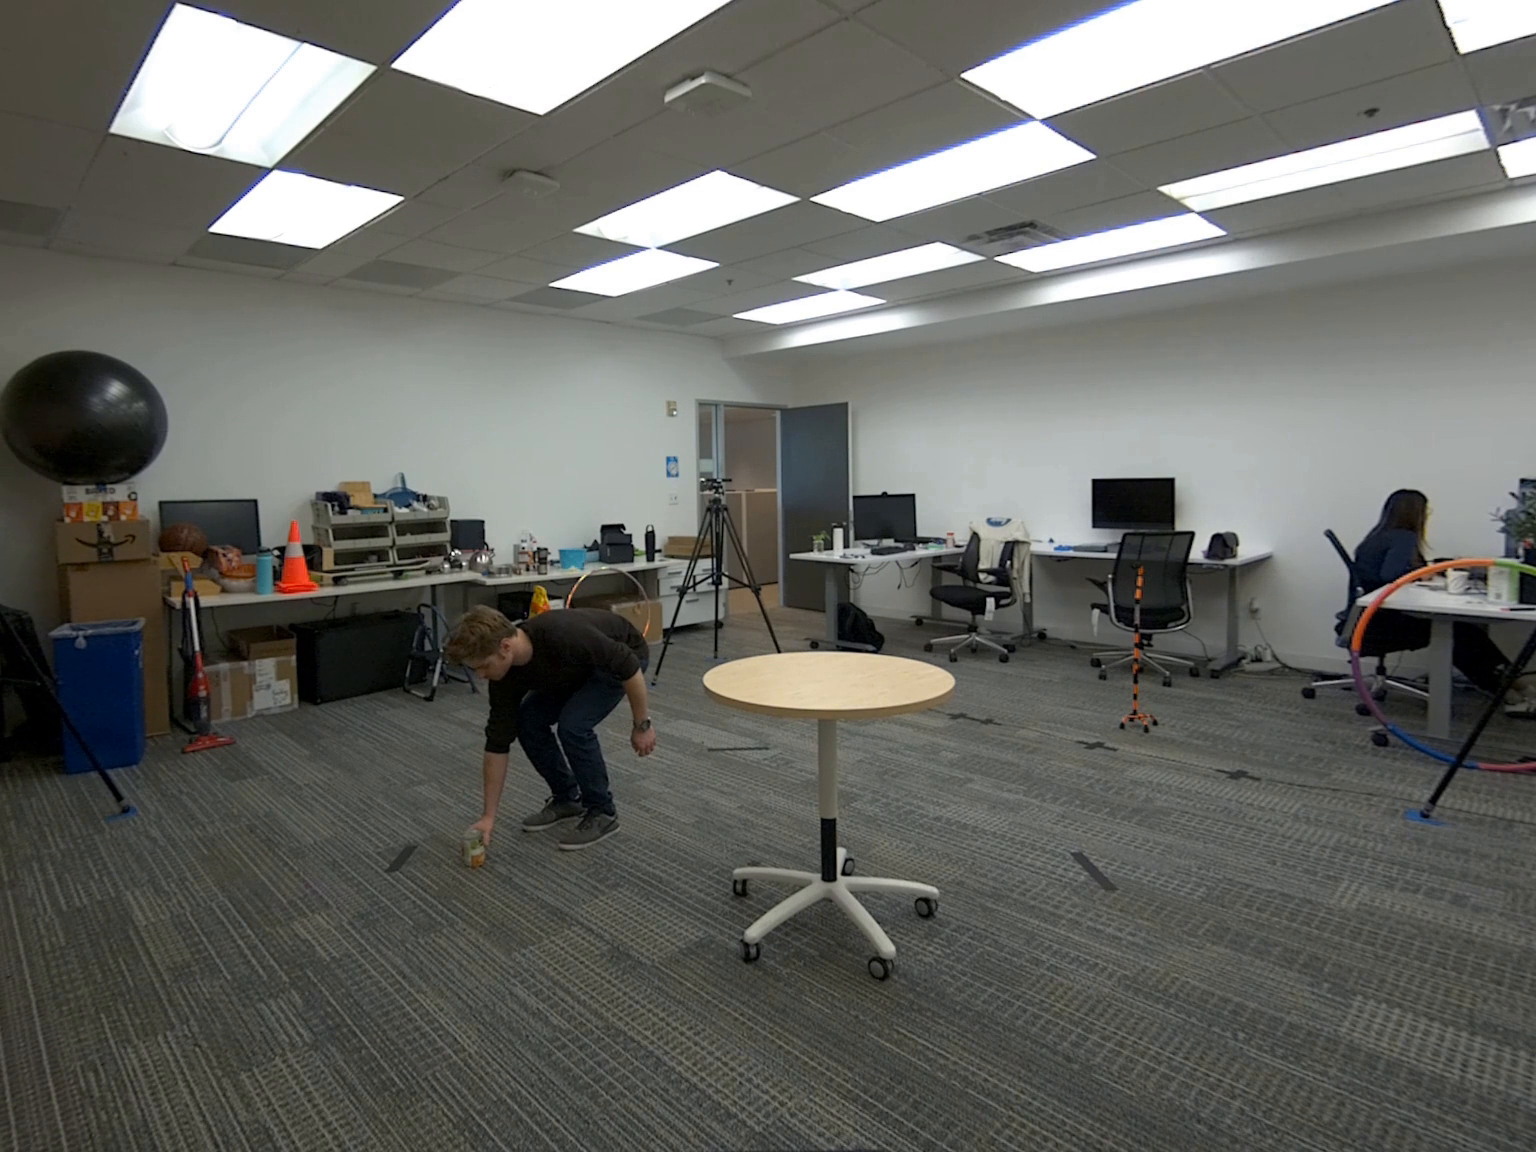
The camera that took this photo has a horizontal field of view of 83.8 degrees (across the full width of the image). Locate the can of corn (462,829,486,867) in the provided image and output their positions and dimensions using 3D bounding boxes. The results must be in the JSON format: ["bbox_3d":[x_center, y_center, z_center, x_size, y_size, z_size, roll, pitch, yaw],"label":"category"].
[{"bbox_3d":[-1.085,1.005,3.155,0.074,0.111,0.074,-8,3,-1],"label":"can of corn"}]
